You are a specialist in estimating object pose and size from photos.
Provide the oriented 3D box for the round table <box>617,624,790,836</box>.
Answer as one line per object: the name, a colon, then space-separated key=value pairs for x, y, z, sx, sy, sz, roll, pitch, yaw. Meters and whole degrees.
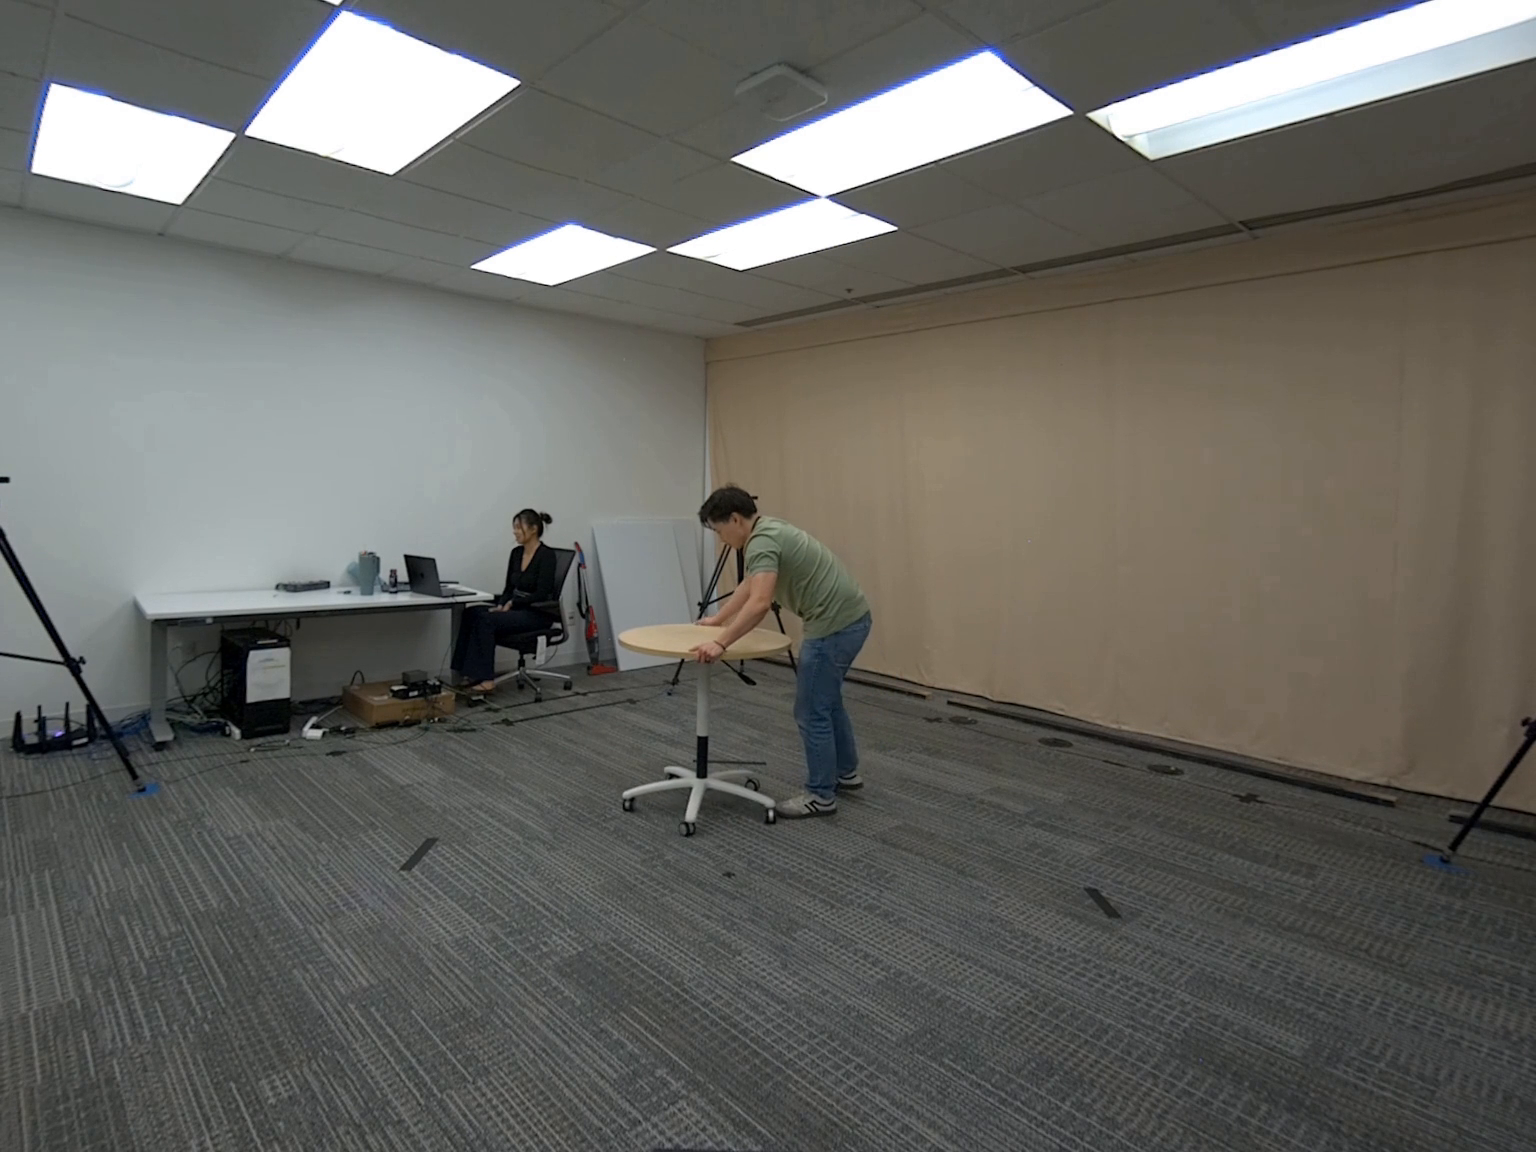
round table: x=-0.295 y=0.658 z=3.755 sx=0.763 sy=0.792 sz=0.766 roll=2 pitch=4 yaw=-1
